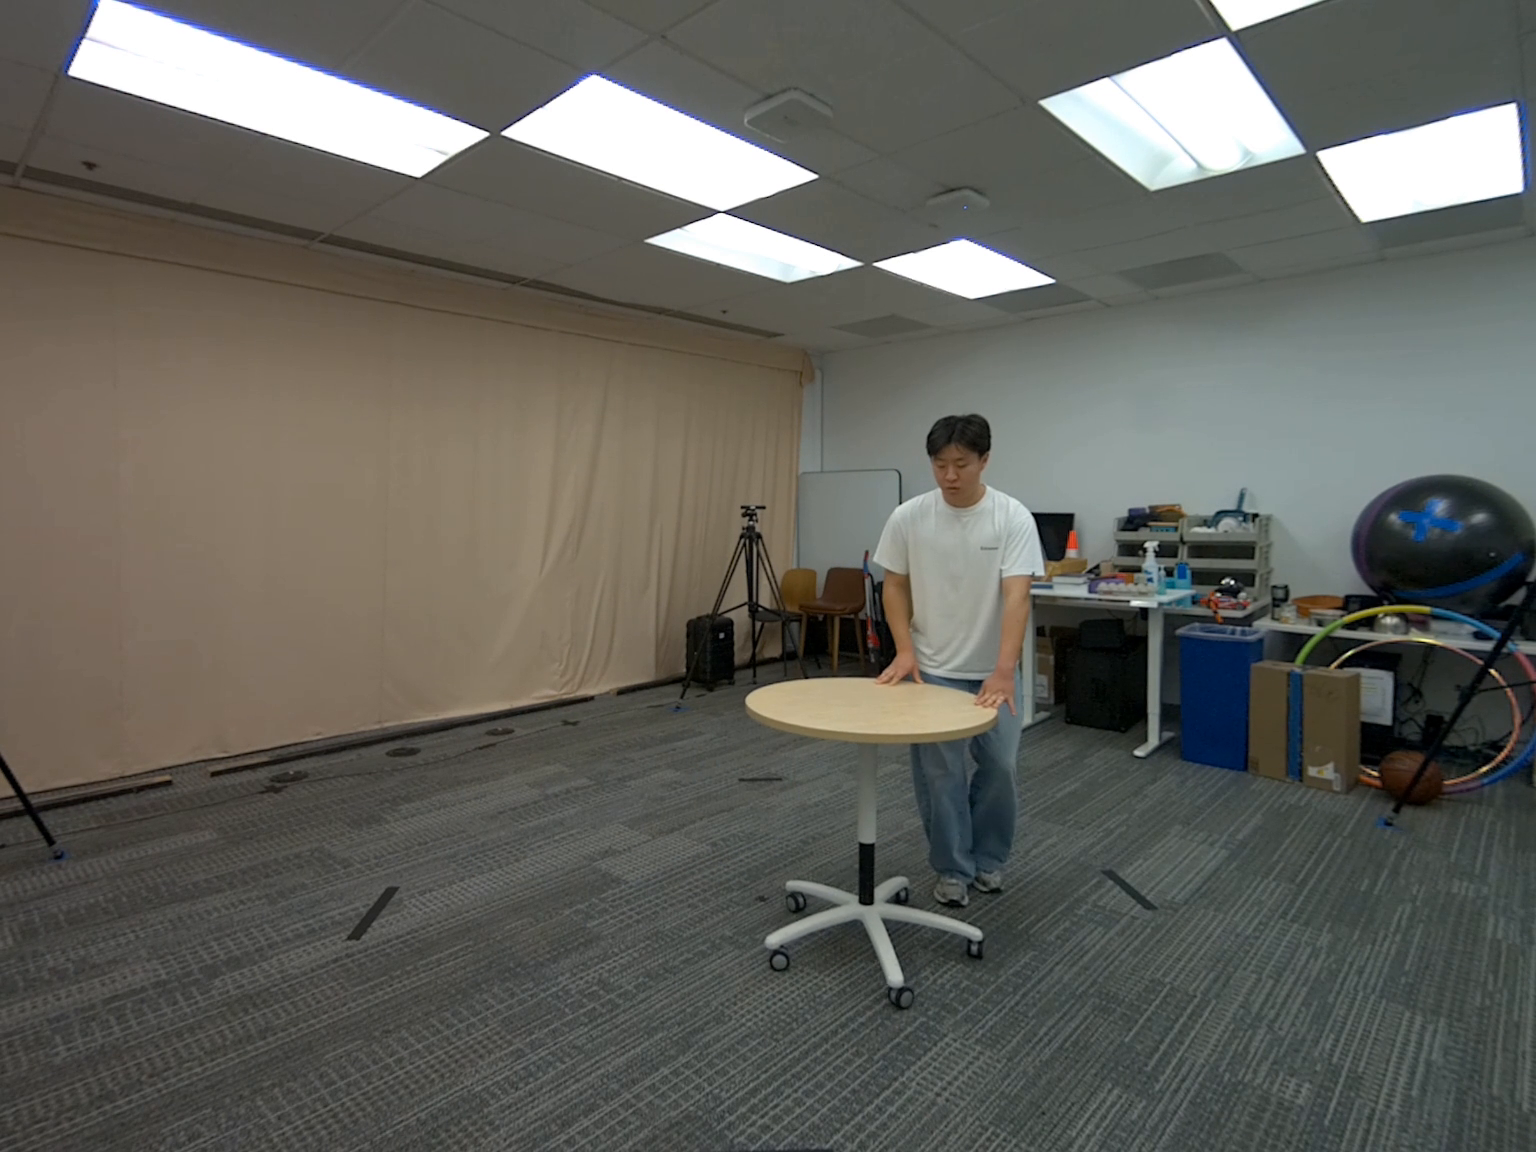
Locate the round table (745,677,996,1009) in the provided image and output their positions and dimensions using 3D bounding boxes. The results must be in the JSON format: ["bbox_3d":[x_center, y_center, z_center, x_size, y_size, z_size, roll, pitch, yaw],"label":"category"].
[{"bbox_3d":[0.315,0.785,2.649,0.763,0.792,0.767,0,4,-2],"label":"round table"}]
